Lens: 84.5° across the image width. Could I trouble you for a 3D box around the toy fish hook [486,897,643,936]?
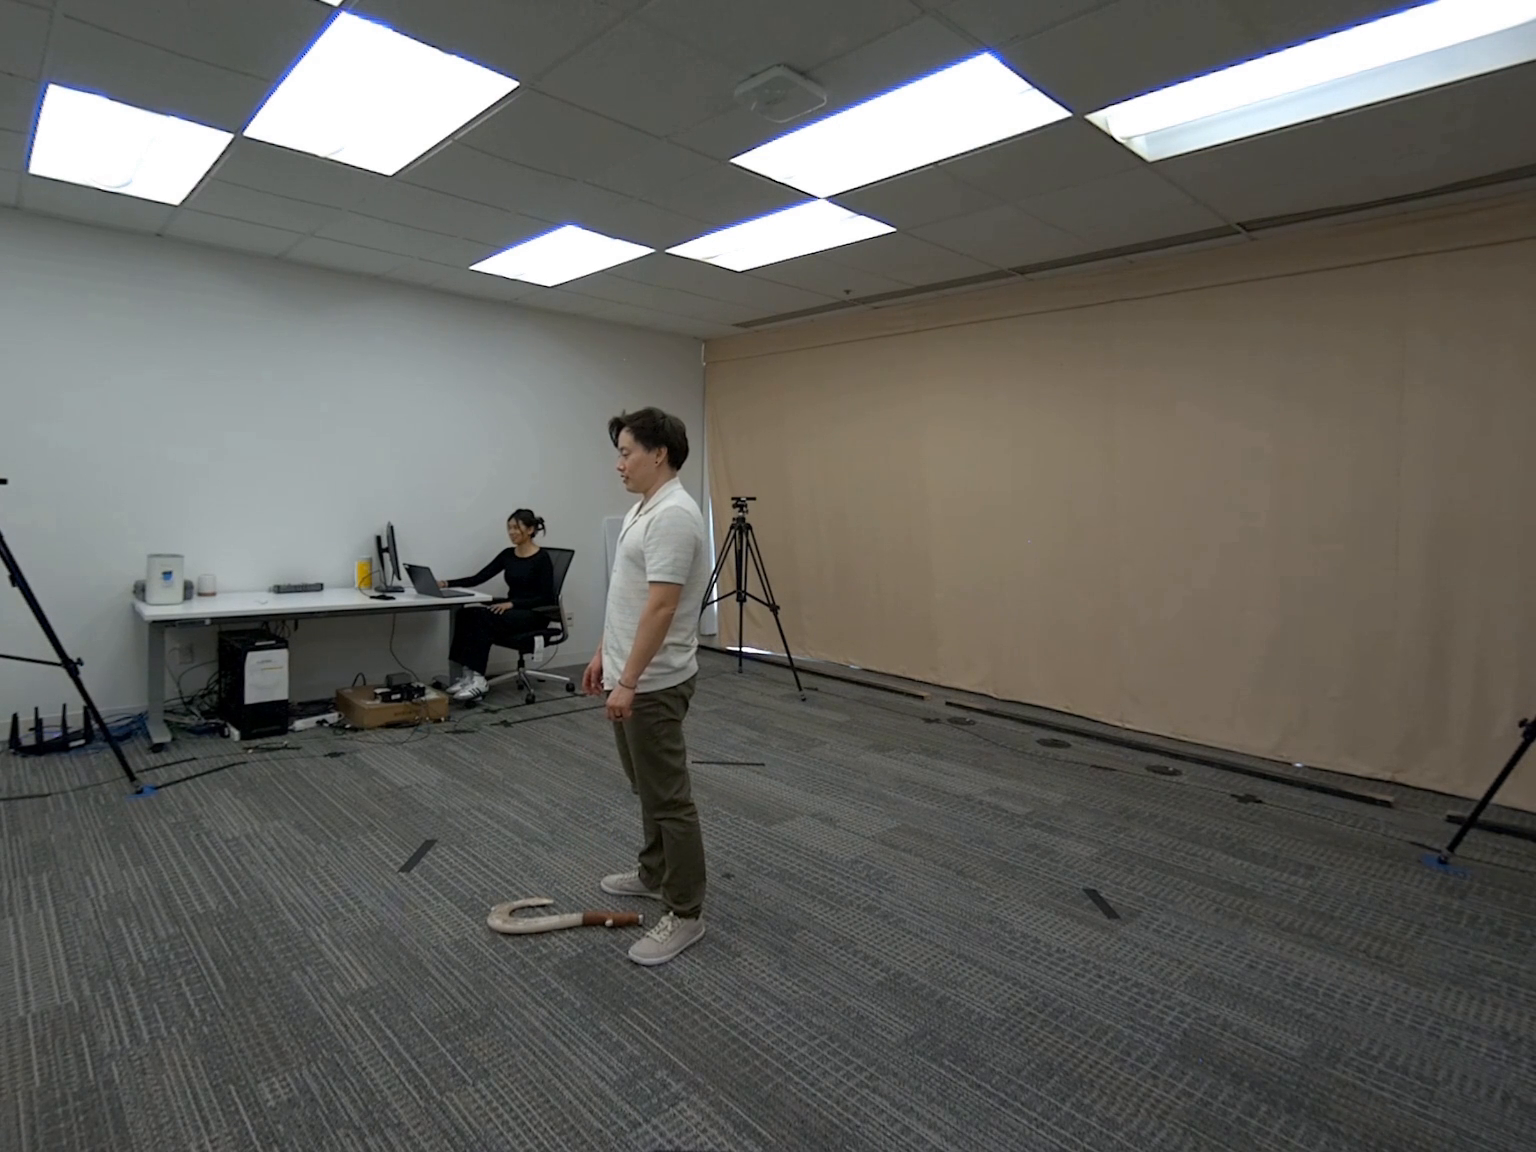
[{"bbox_3d":[-0.660,1.100,2.762,0.505,0.048,0.226,1,6,-5],"label":"toy fish hook"}]
